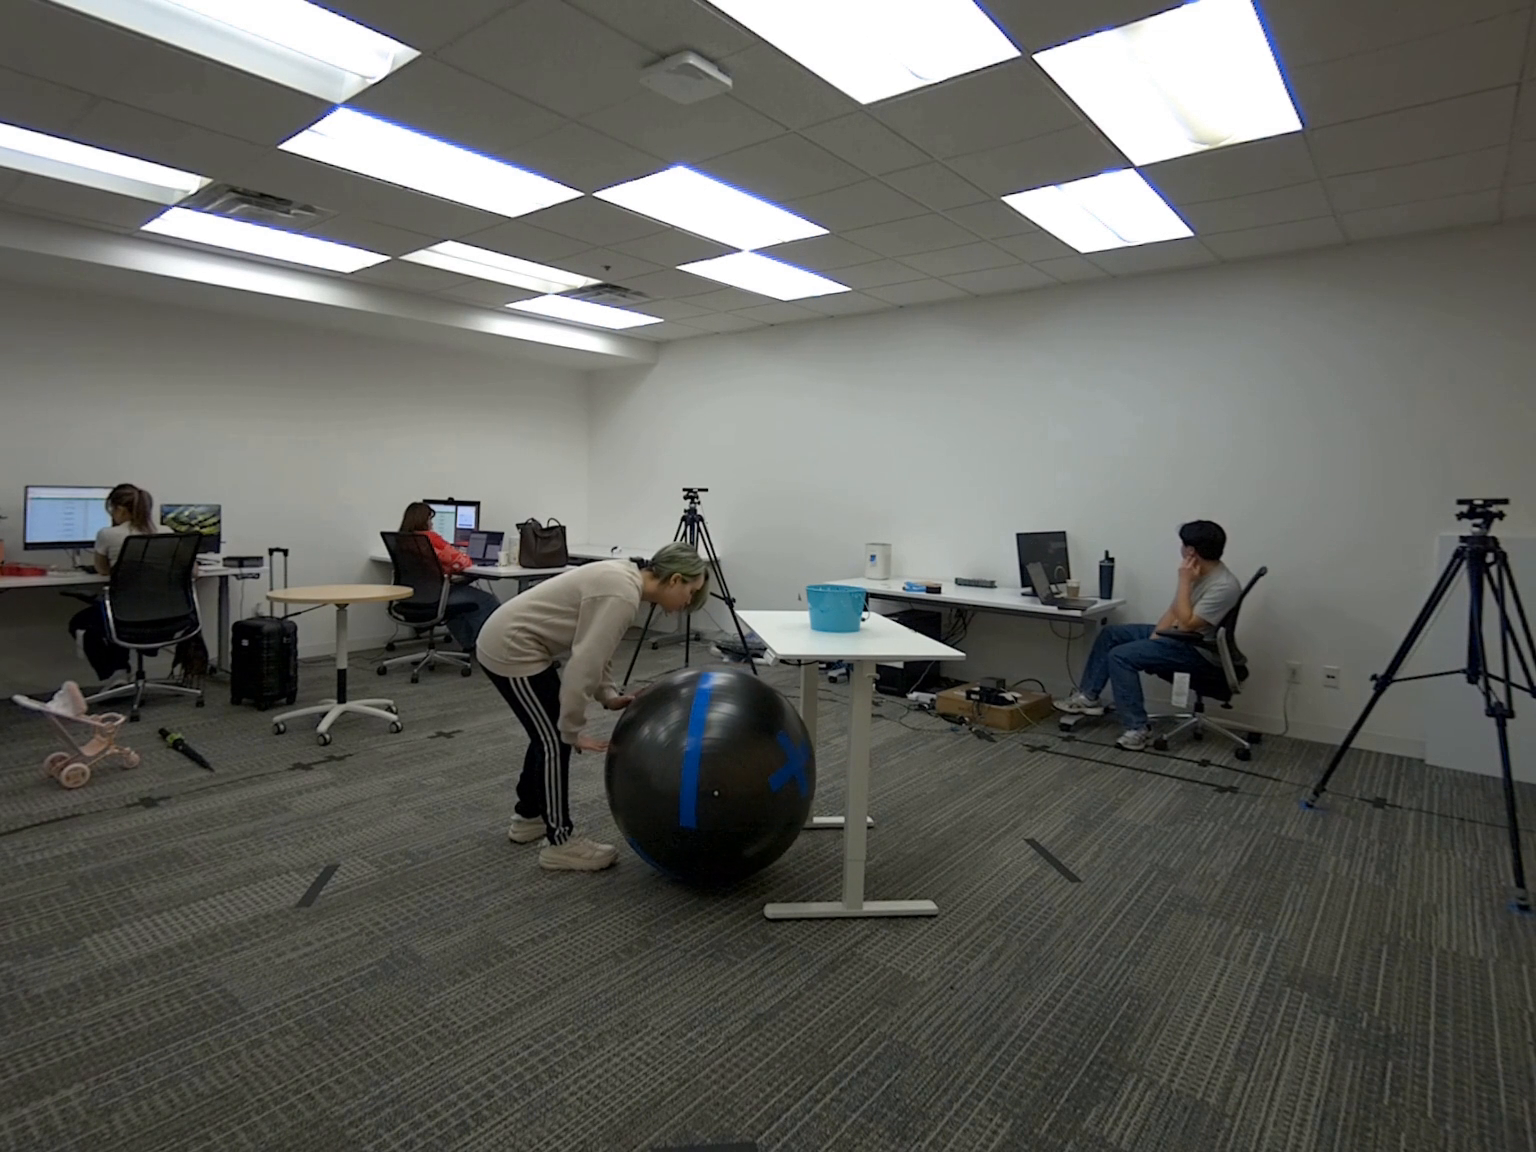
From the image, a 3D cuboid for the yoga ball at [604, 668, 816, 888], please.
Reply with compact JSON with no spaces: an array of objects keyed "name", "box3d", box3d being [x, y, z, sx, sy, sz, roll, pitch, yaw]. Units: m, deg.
[{"name":"yoga ball","box3d":[-0.213,0.705,3.068,0.757,0.755,0.762,1,4,-2]}]
